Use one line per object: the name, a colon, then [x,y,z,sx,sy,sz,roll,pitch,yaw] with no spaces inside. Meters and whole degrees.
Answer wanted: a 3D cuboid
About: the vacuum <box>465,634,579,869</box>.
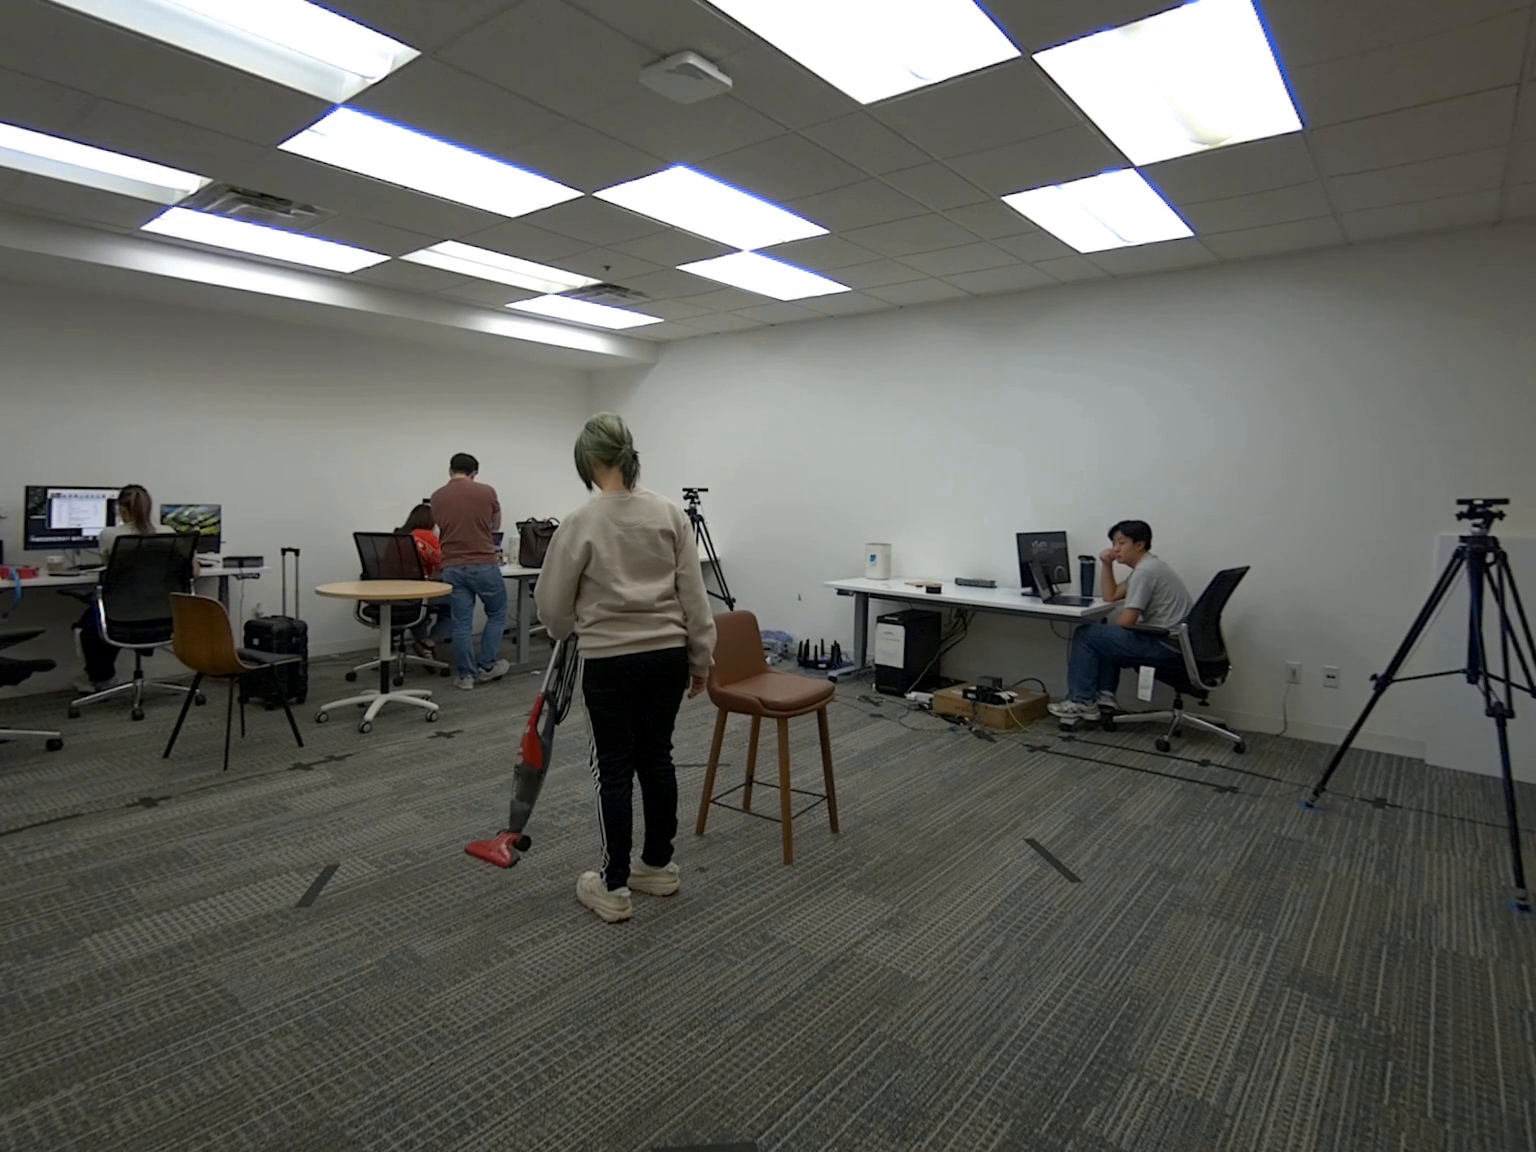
vacuum: [-0.774,0.428,2.994,0.260,1.063,0.138,-5,-27,42]
